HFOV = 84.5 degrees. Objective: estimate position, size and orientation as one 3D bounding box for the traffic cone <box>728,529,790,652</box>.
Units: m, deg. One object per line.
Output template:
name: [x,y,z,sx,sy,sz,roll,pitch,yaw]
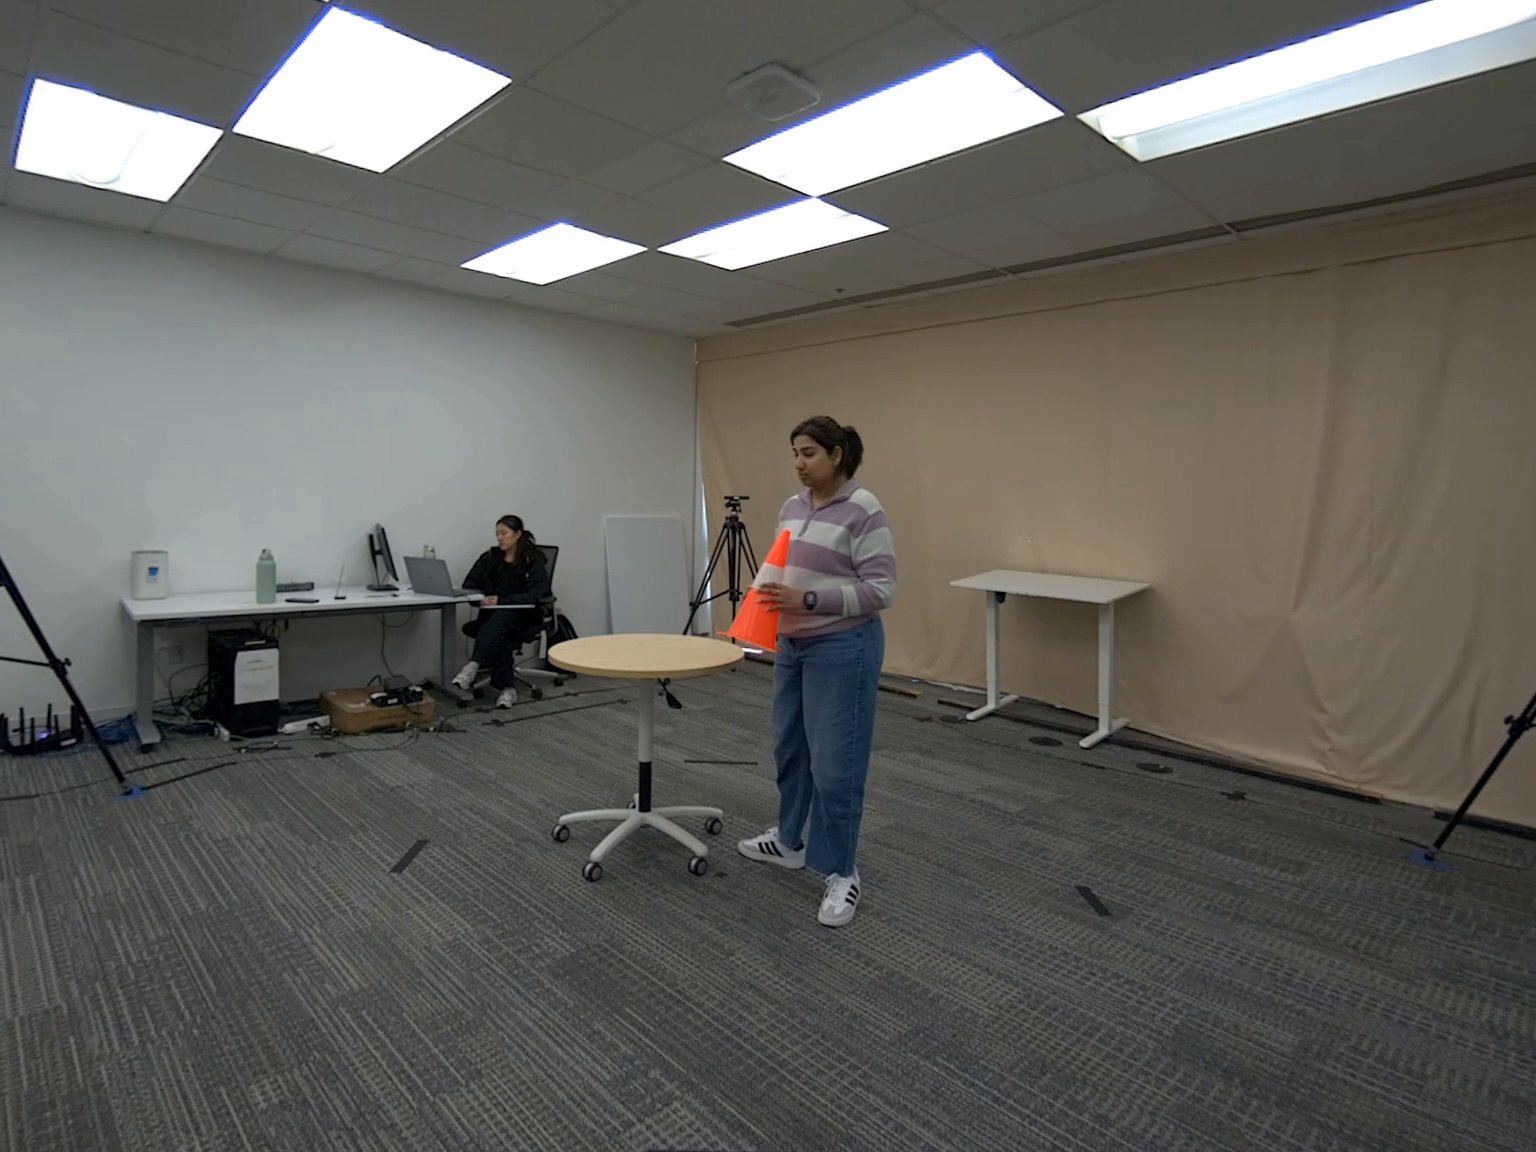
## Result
traffic cone: [-0.003,0.035,2.747,0.206,0.384,0.201,16,-5,14]
